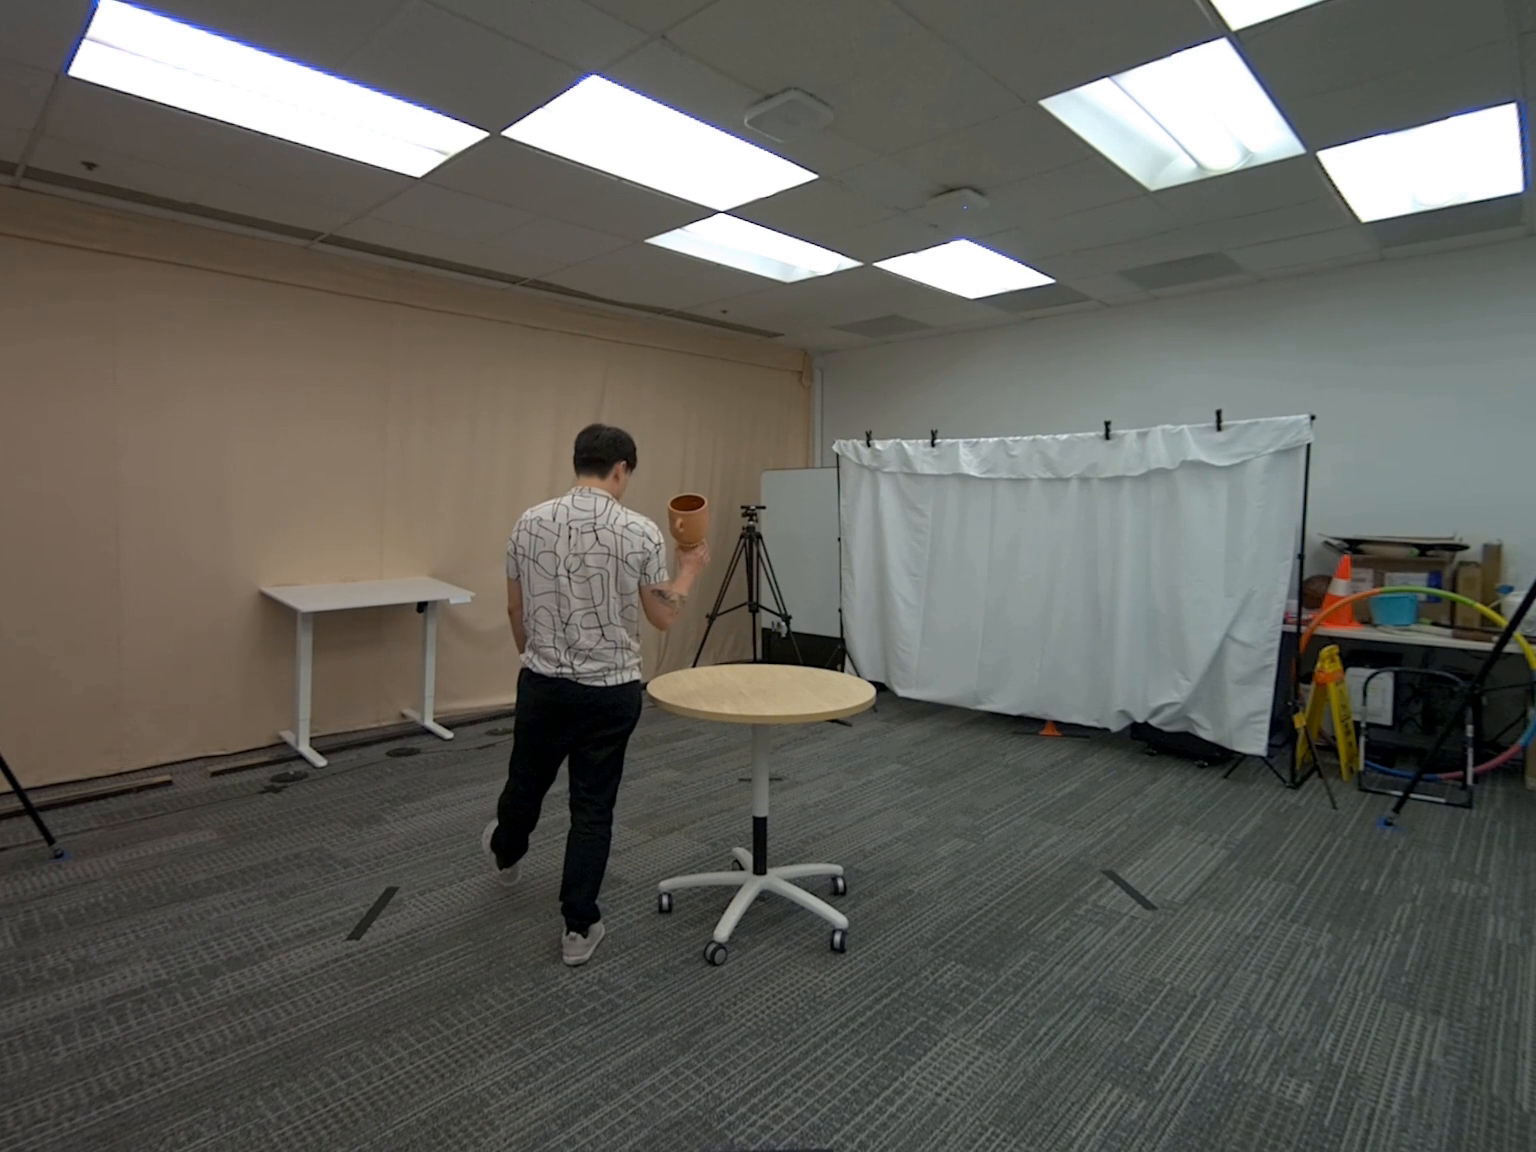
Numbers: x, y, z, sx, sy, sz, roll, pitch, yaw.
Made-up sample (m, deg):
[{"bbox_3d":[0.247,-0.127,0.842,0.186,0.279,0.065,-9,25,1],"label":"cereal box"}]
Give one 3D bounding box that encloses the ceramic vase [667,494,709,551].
[{"bbox_3d":[-0.264,-0.152,2.843,0.156,0.216,0.139,-18,36,-25],"label":"ceramic vase"}]
